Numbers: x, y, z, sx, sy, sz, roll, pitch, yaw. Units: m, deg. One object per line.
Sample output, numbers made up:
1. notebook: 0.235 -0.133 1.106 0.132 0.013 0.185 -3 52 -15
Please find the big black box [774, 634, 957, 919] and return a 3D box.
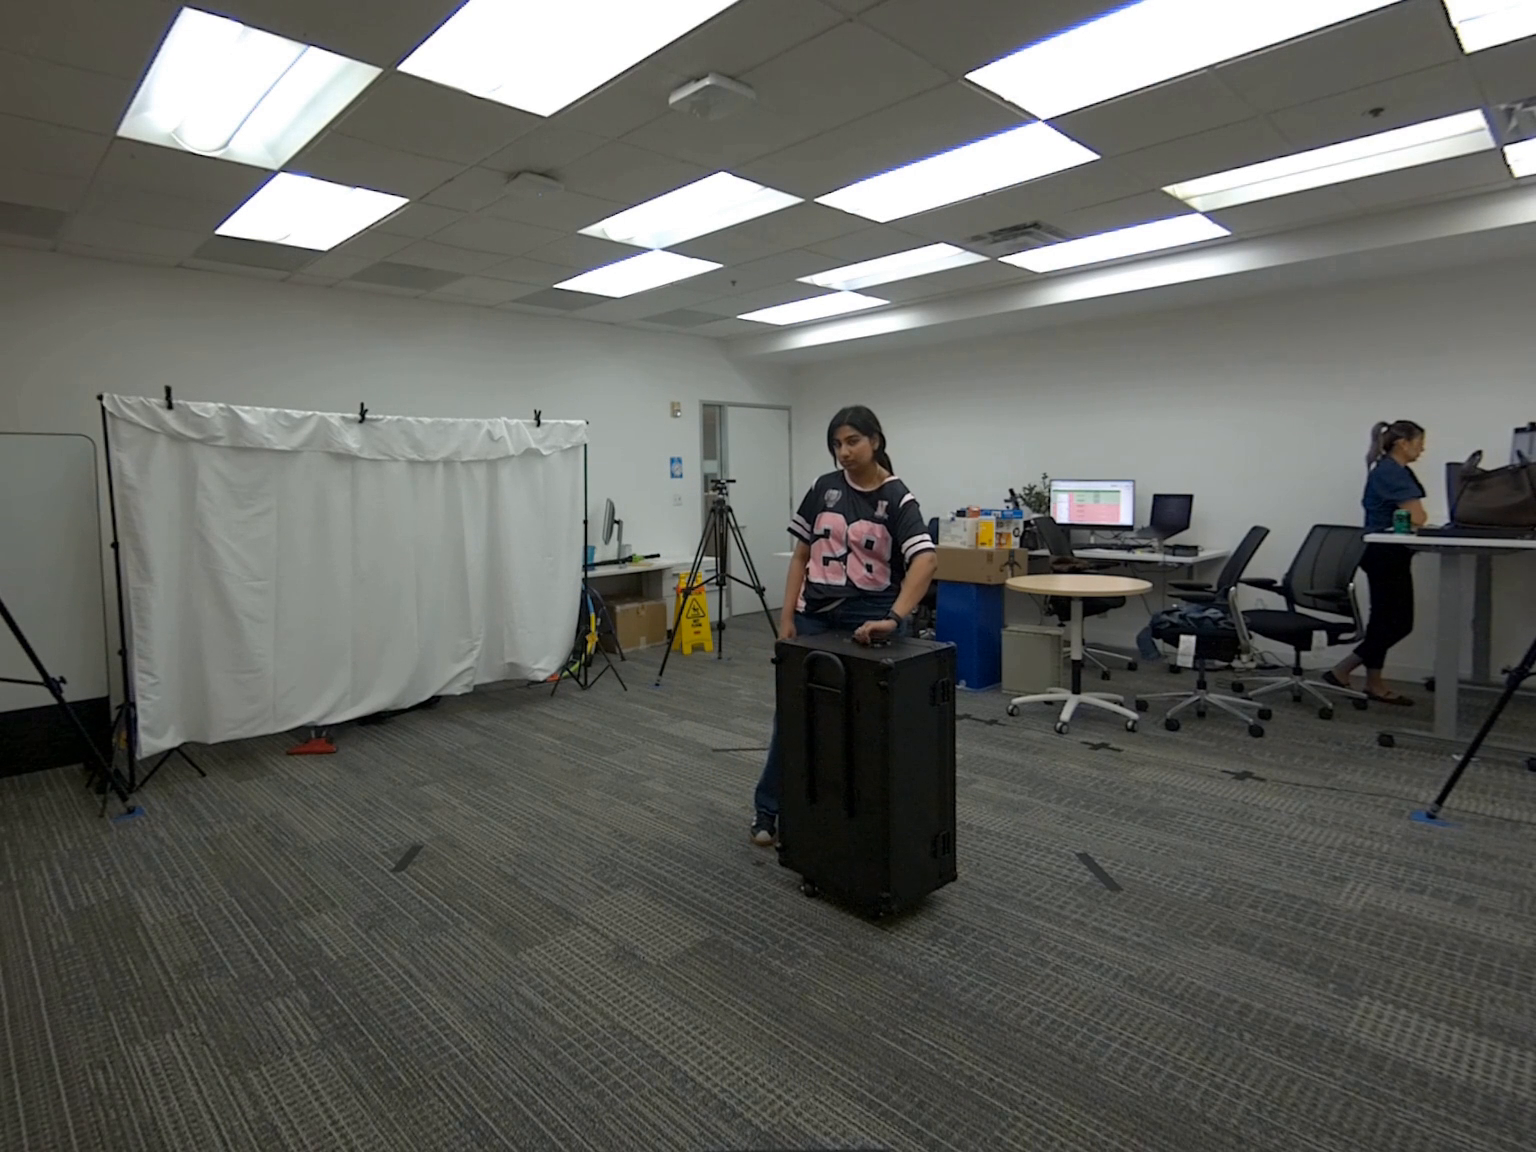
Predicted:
1. big black box: 0.330 0.650 2.840 0.375 0.865 0.539 -6 6 -43
